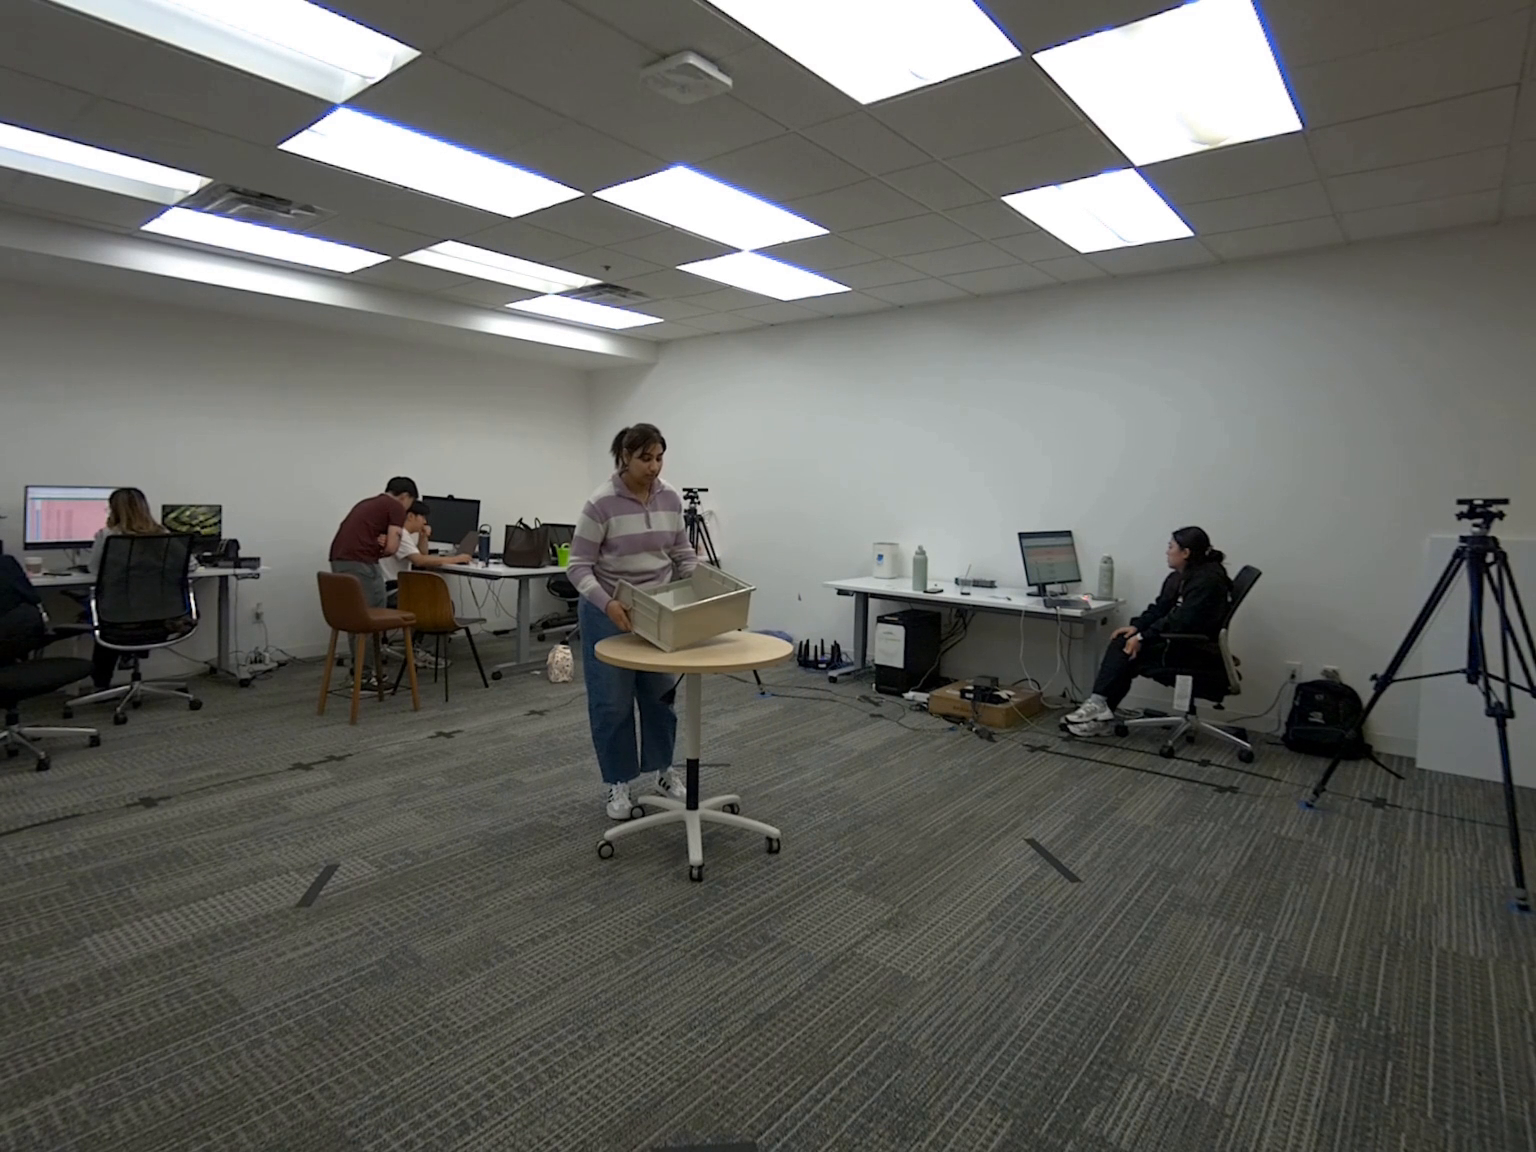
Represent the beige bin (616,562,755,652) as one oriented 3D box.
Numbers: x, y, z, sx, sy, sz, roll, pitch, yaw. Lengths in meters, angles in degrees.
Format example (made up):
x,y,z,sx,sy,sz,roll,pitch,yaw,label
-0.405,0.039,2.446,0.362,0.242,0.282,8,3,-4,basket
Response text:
x,y,z,sx,sy,sz,roll,pitch,yaw,label
-0.336,0.105,3.361,0.412,0.186,0.393,-13,28,-42,beige bin
